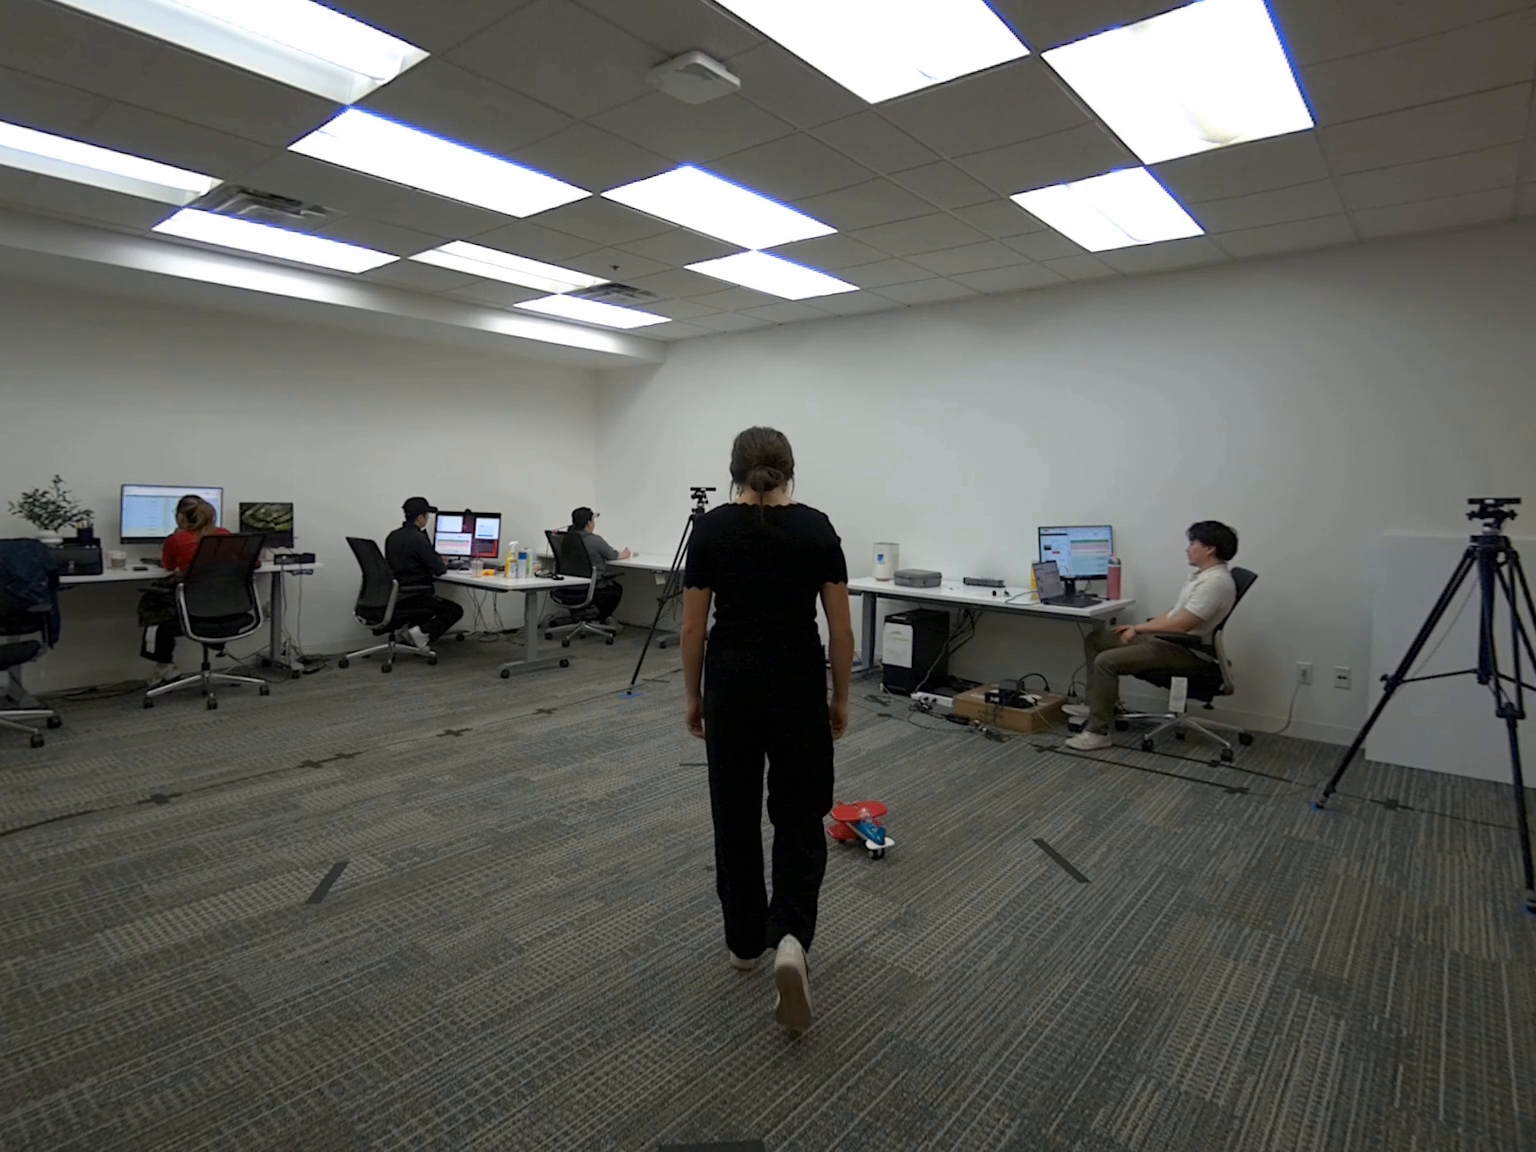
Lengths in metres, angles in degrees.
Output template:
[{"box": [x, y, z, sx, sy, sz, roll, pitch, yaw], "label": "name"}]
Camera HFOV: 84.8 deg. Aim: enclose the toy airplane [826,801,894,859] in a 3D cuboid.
[{"box": [0.373, 0.981, 3.326, 0.267, 0.156, 0.244, 4, 4, 32], "label": "toy airplane"}]
